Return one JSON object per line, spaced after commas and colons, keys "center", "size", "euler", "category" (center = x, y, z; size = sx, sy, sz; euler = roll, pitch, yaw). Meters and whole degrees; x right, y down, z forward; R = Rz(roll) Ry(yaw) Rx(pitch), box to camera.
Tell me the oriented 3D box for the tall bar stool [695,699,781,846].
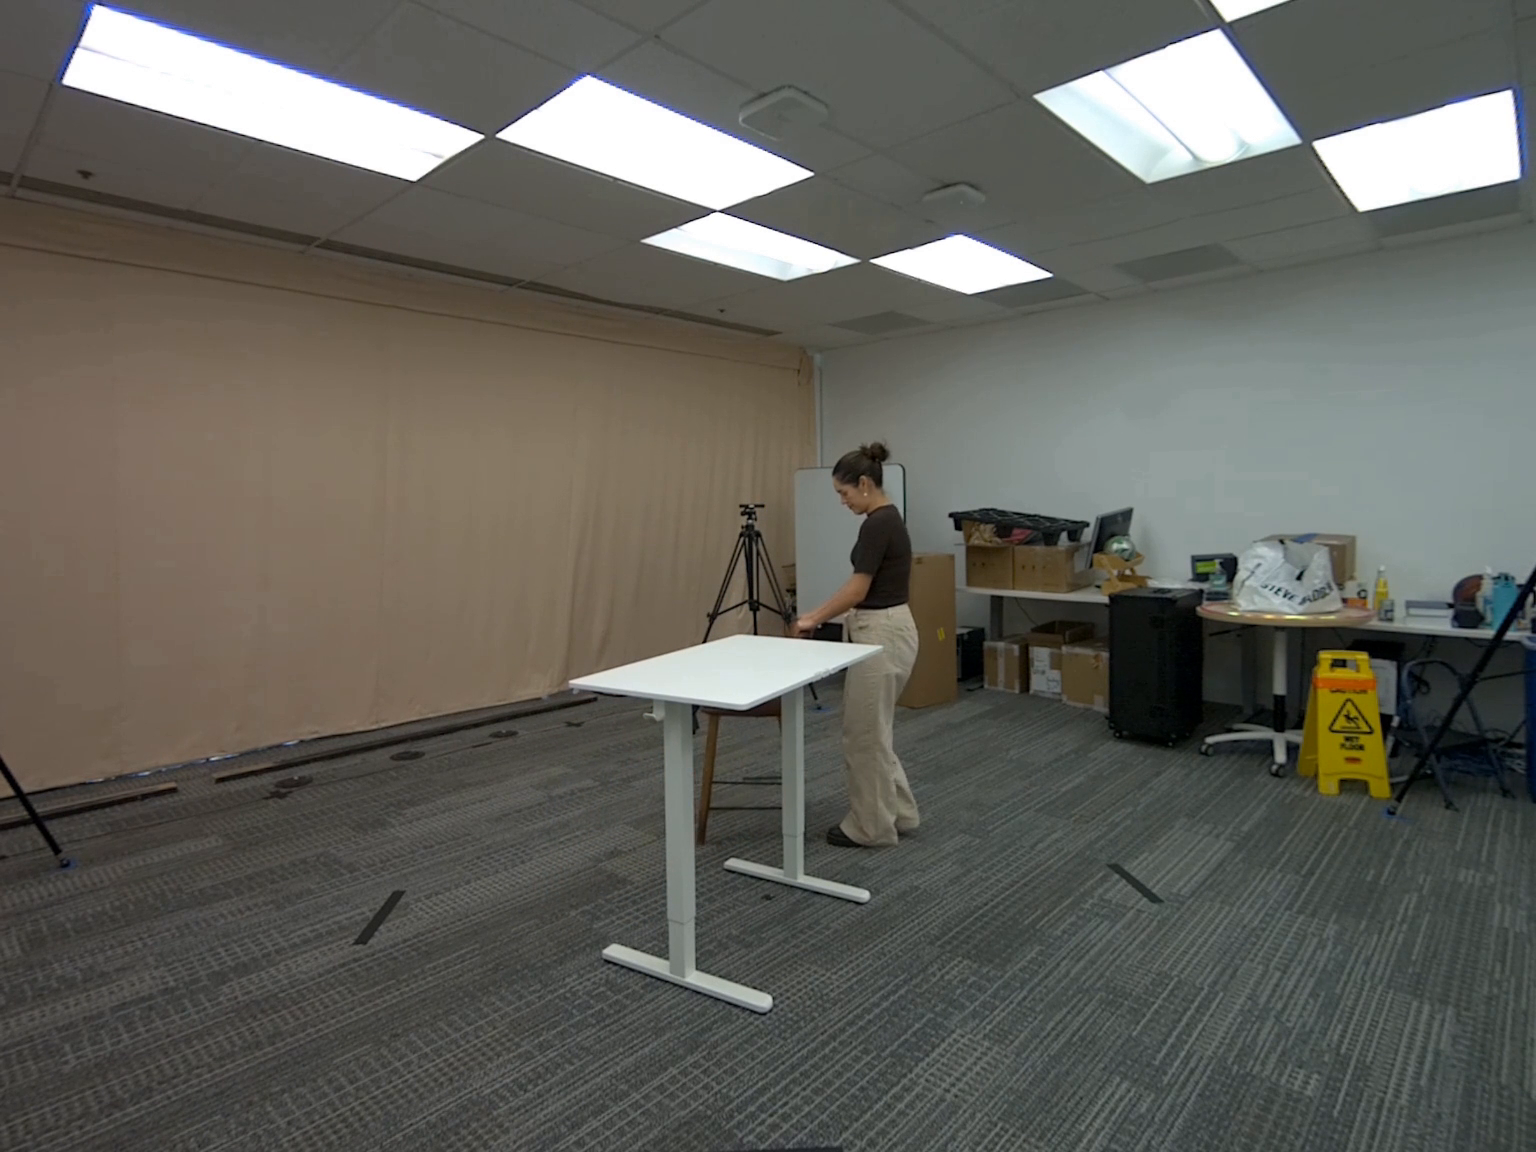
{"center": [-0.065, 0.650, 3.629], "size": [0.468, 0.888, 0.457], "euler": [1, 3, 0], "category": "tall bar stool"}
